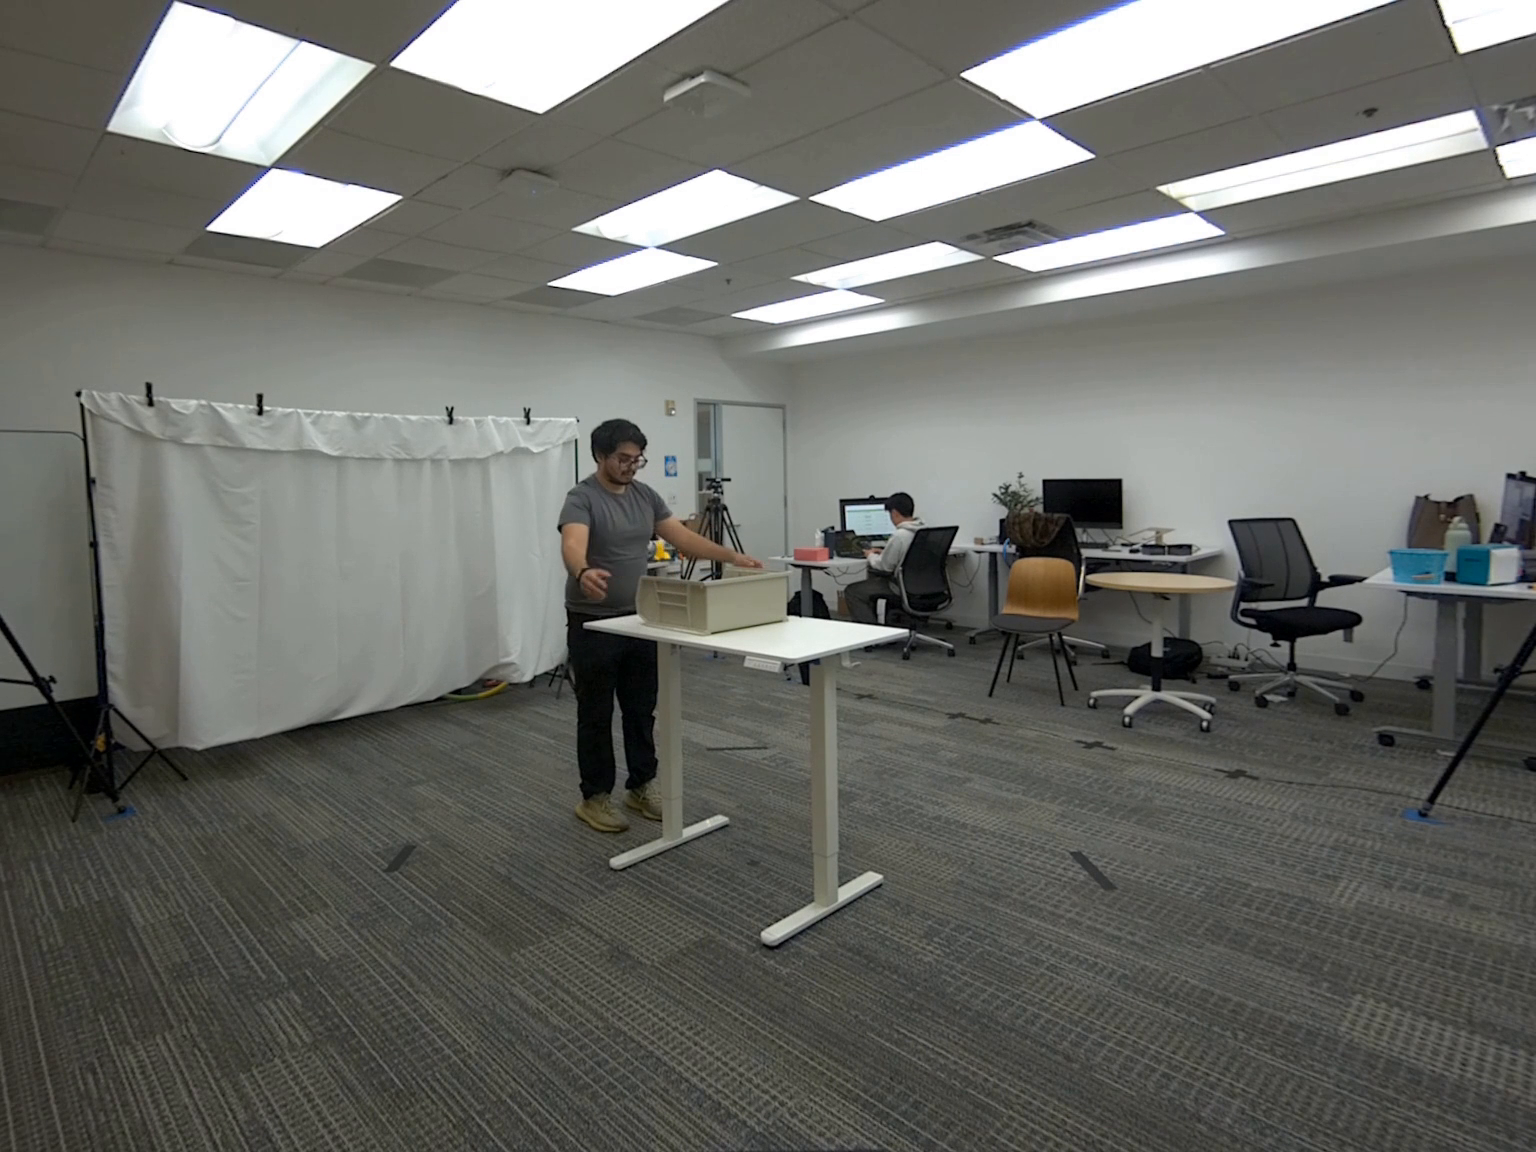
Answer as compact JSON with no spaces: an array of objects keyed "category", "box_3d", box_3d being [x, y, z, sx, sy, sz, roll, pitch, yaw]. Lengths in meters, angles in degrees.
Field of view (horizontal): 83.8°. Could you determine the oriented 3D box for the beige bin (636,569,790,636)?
[{"category":"beige bin","box_3d":[-0.198,0.084,3.047,0.411,0.188,0.389,-5,8,-45]}]
